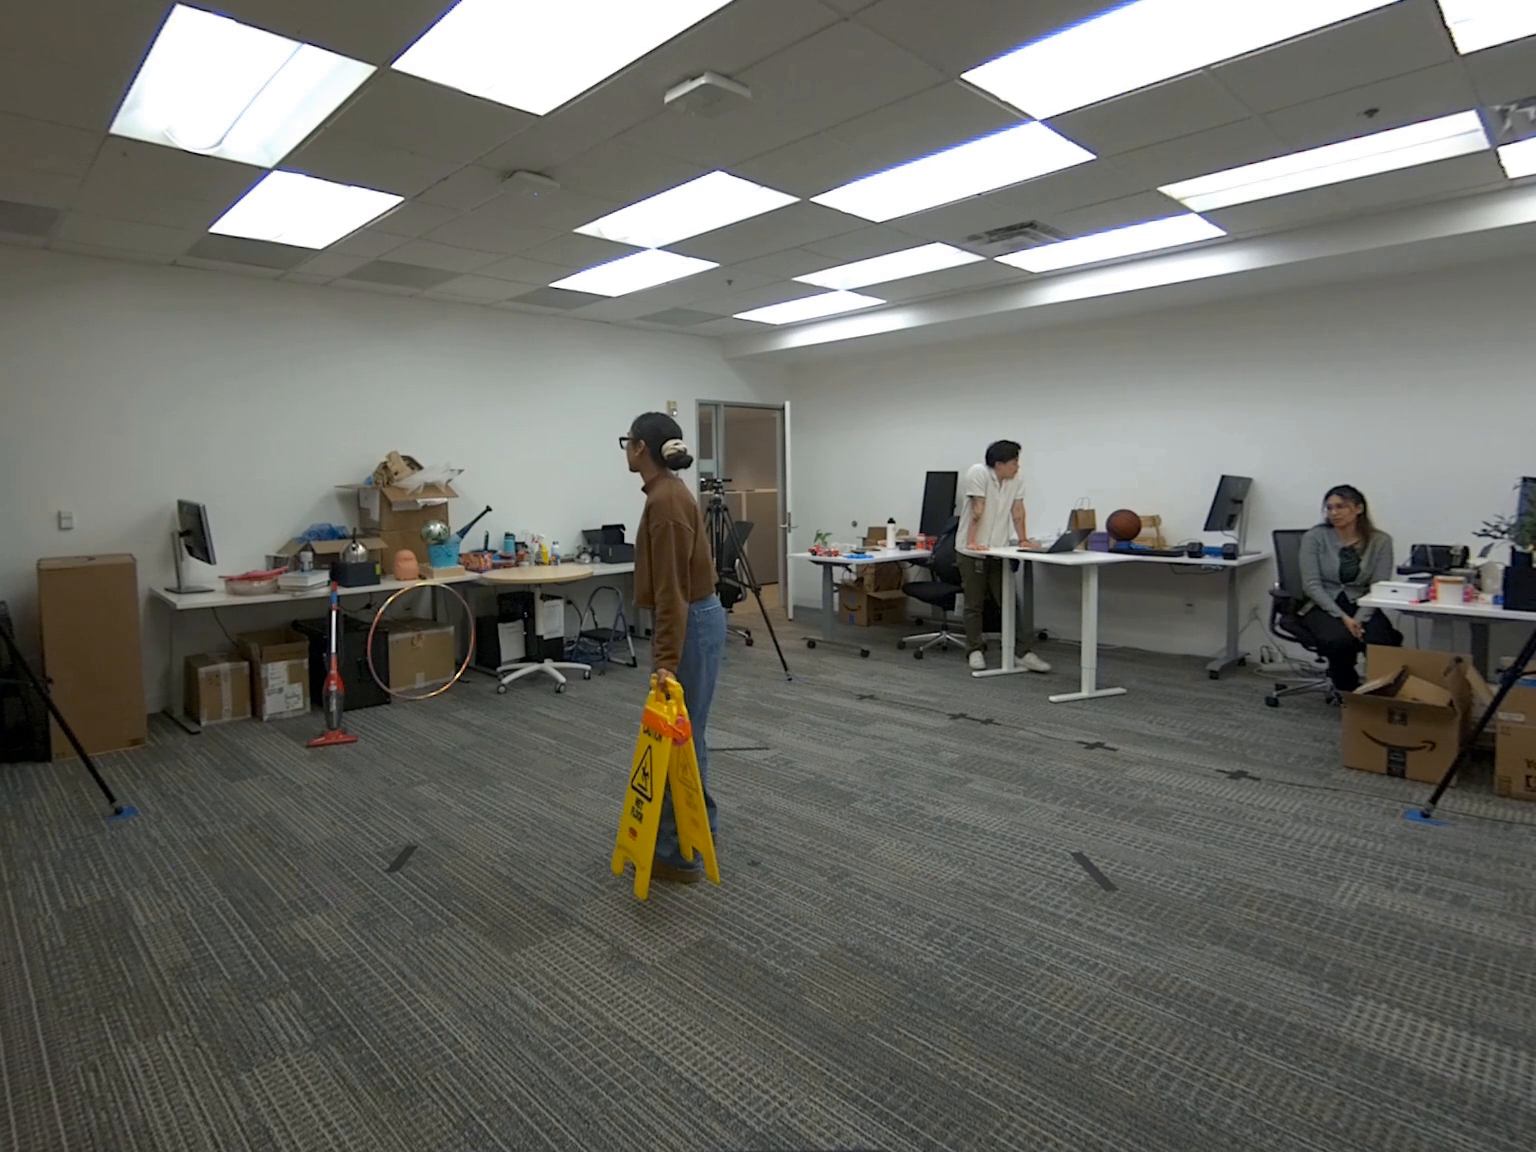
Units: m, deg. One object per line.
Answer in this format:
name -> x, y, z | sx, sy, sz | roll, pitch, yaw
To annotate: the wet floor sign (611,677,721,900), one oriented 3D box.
wet floor sign -> -0.327, 0.652, 2.771 | 0.283, 0.645, 0.289 | 0, 2, -28
